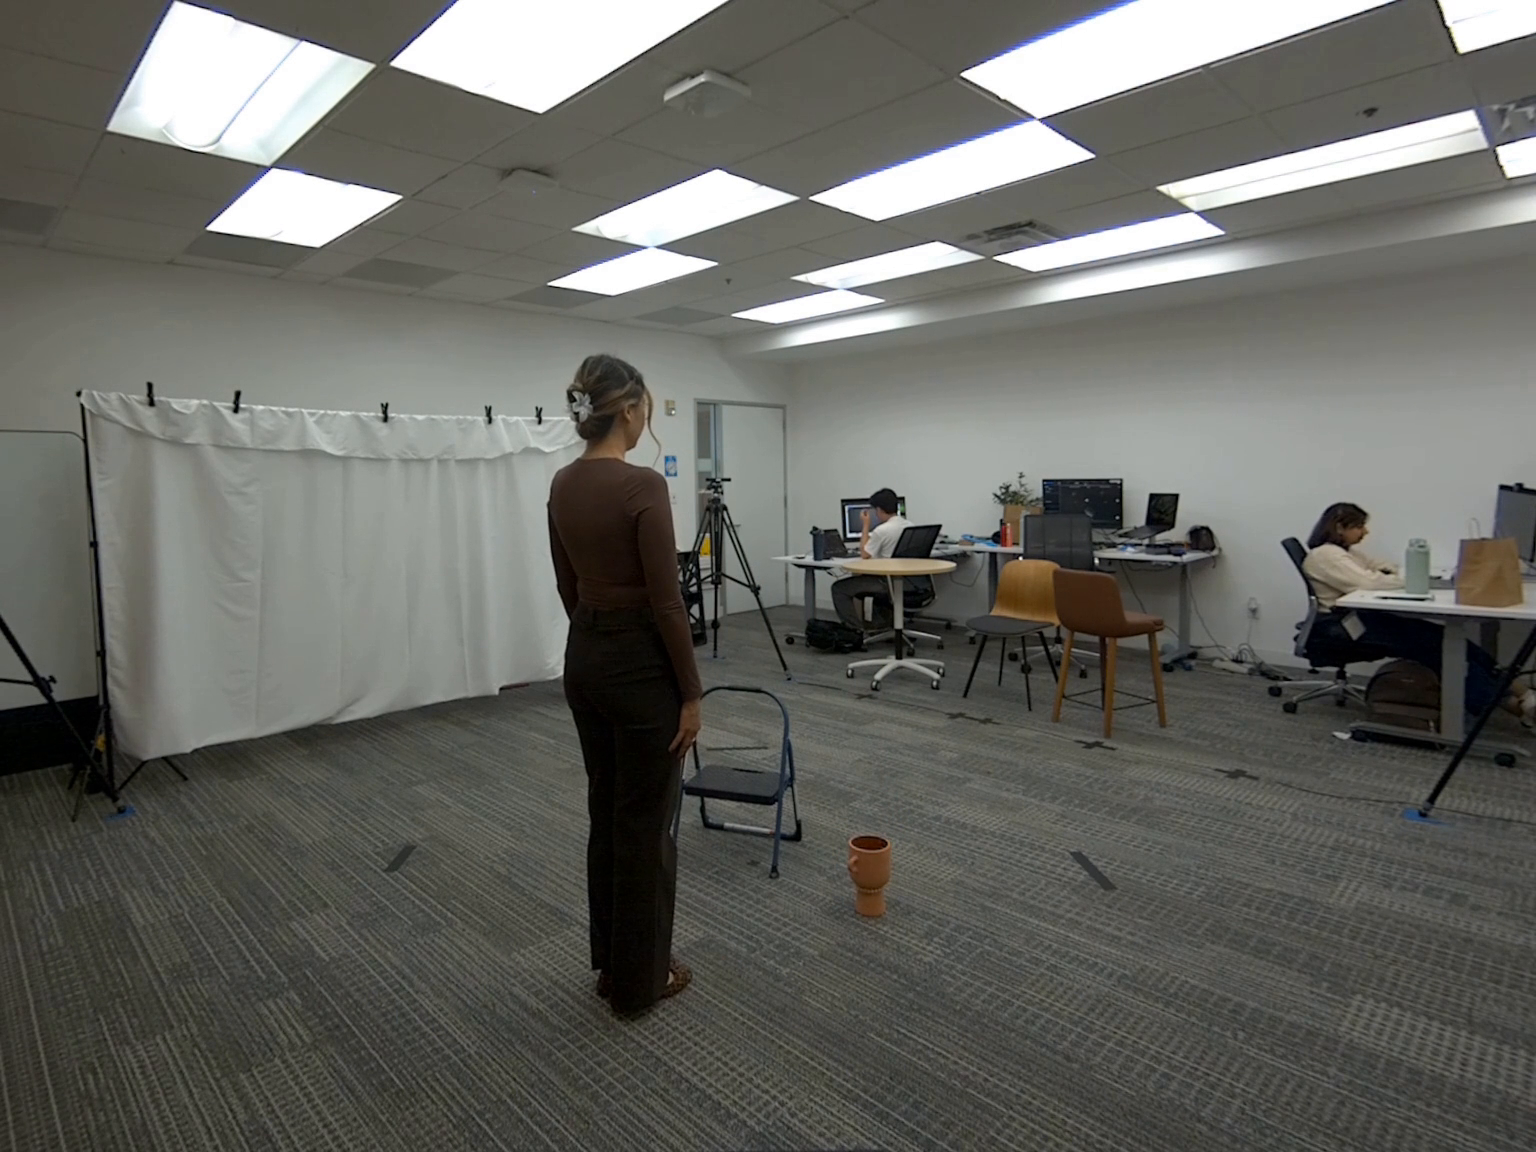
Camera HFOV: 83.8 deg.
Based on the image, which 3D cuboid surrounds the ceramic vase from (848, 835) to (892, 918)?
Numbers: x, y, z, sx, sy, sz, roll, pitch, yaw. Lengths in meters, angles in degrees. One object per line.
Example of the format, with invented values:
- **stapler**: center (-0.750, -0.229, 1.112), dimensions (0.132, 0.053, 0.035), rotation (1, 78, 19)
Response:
- **ceramic vase**: center (0.335, 0.965, 2.747), dimensions (0.159, 0.219, 0.135), rotation (-2, 5, -1)
